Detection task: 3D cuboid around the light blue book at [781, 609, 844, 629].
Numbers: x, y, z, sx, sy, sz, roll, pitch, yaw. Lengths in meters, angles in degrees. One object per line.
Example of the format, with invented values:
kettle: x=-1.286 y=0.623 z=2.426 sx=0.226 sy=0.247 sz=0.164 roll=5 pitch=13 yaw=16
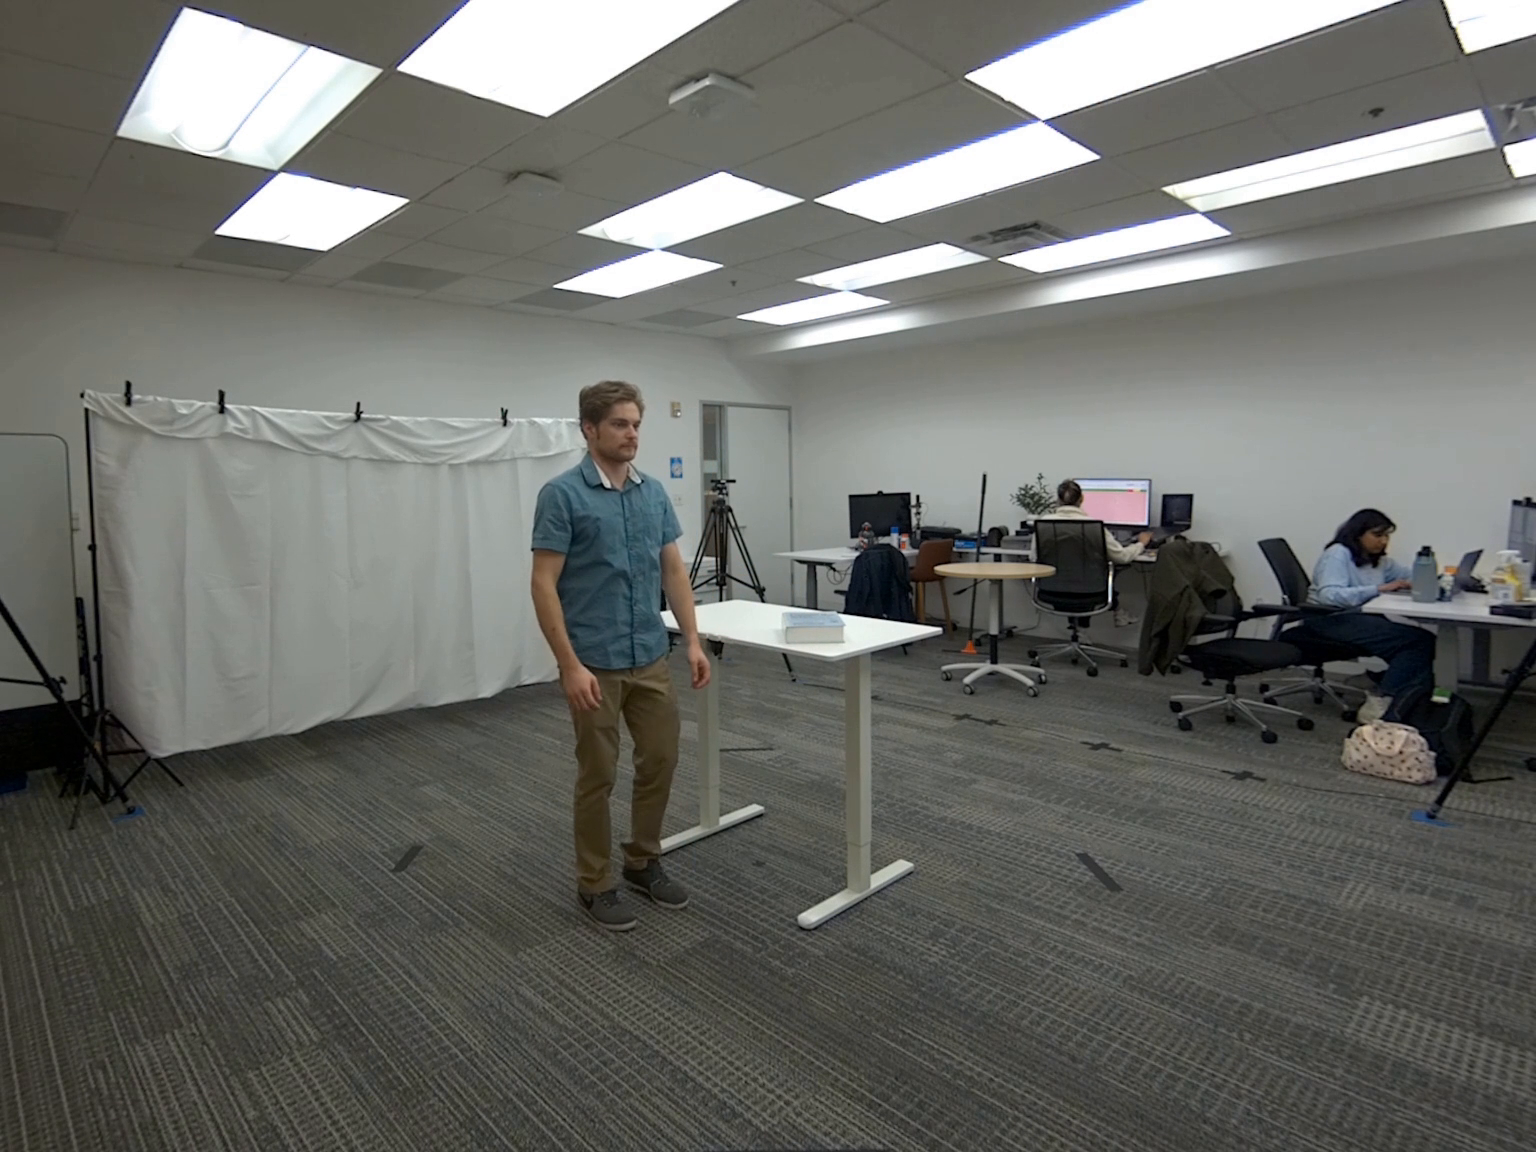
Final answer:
light blue book: x=0.151 y=0.169 z=2.809 sx=0.191 sy=0.059 sz=0.262 roll=-1 pitch=7 yaw=-2
